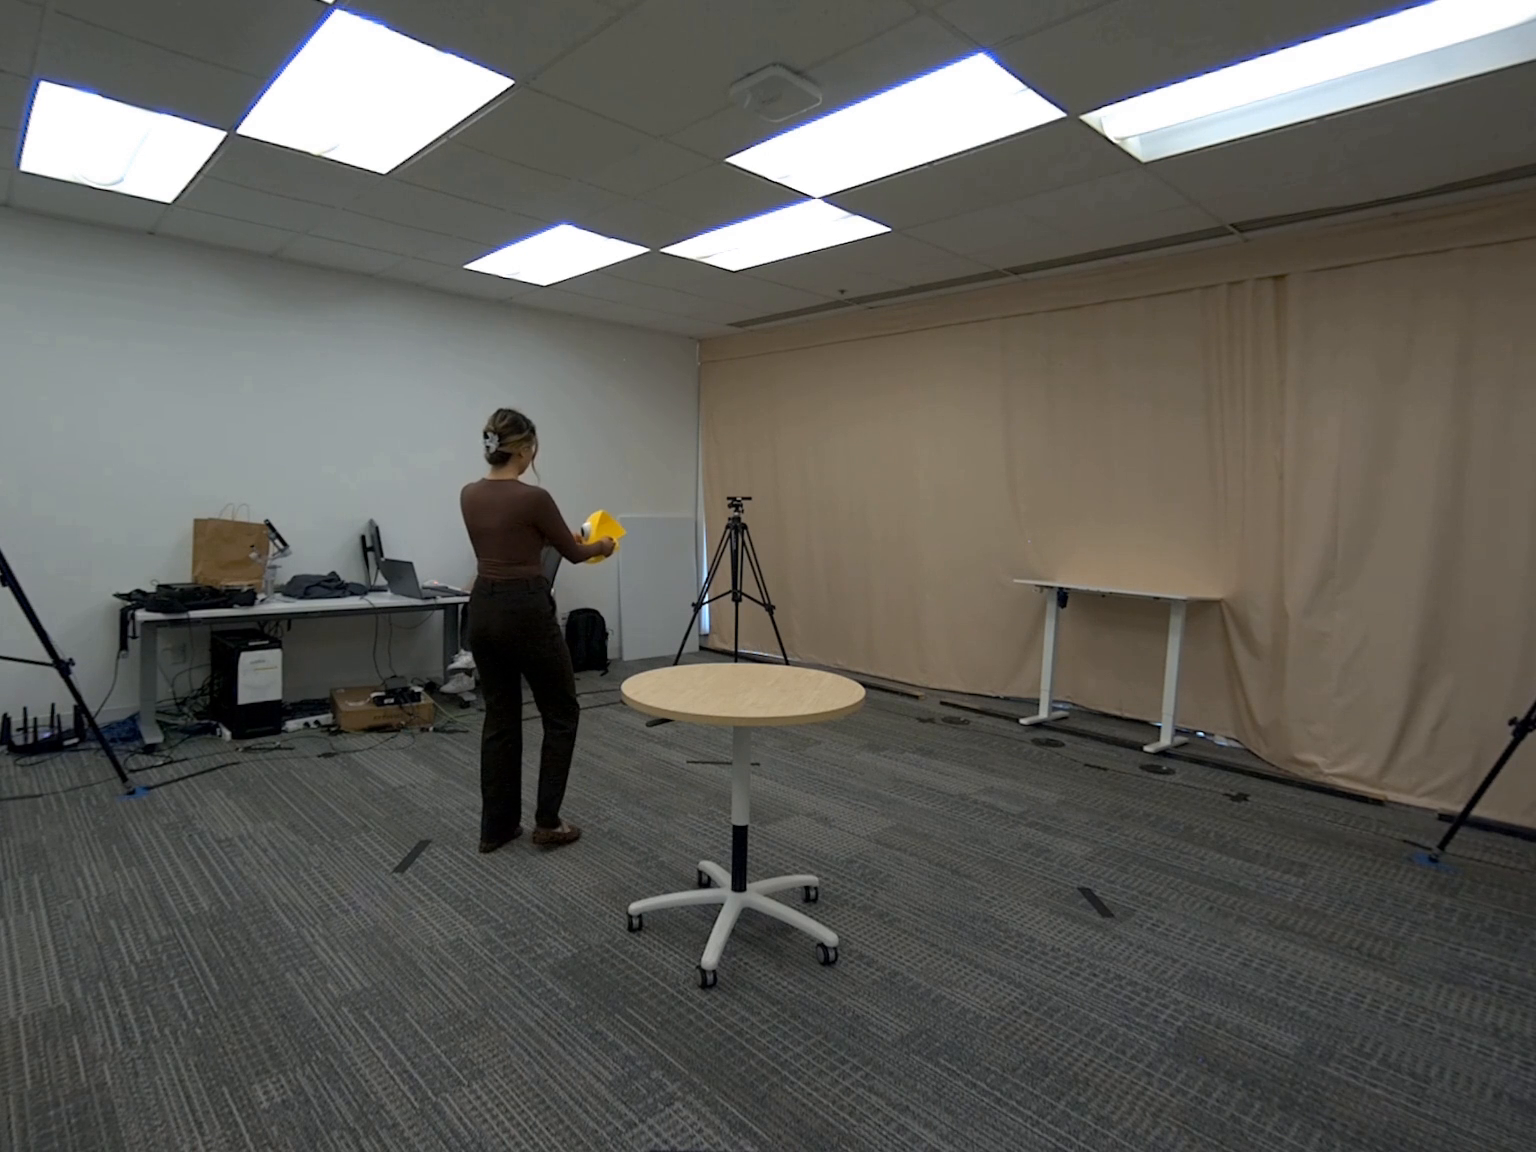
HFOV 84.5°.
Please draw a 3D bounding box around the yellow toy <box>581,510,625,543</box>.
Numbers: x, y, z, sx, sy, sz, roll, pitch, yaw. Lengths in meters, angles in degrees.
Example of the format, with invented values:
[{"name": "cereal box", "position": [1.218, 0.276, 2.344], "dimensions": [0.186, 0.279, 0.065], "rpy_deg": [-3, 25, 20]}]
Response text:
[{"name": "yellow toy", "position": [-0.771, -0.203, 3.717], "dimensions": [0.198, 0.226, 0.203], "rpy_deg": [18, 35, 28]}]
